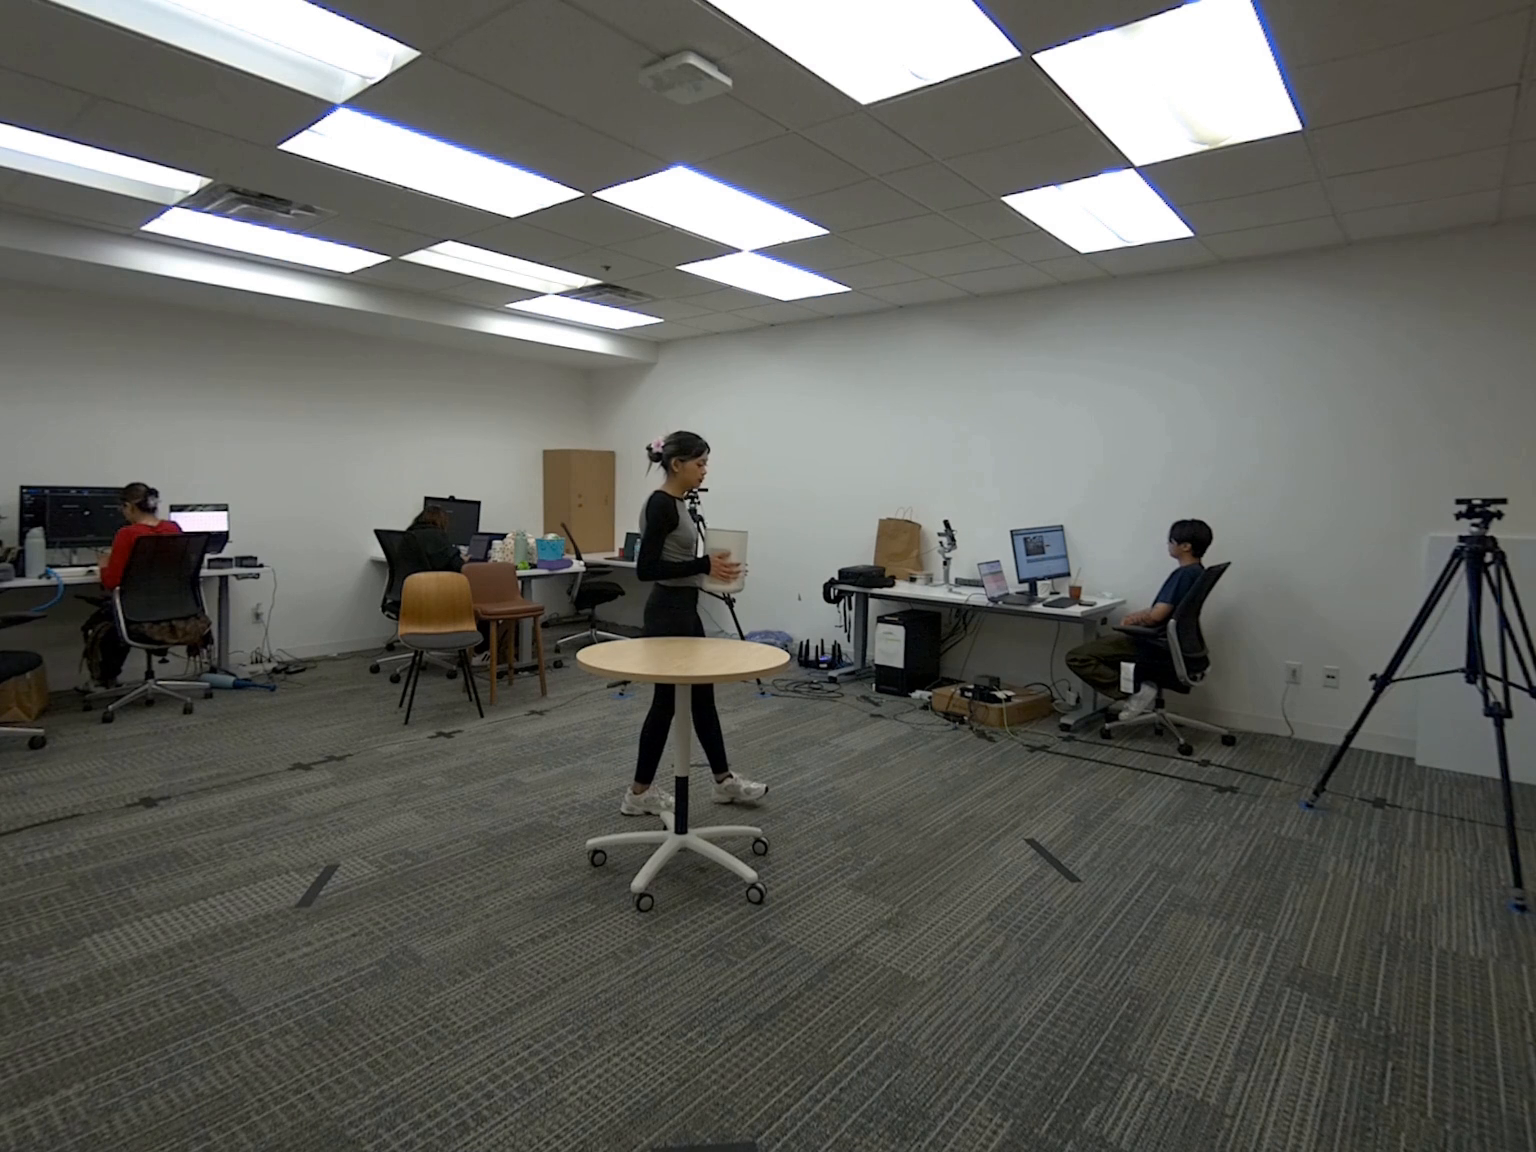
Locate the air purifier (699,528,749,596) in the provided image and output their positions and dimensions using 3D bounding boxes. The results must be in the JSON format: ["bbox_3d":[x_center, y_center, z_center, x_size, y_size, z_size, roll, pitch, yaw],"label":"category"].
[{"bbox_3d":[-0.194,-0.065,3.586,0.174,0.265,0.169,4,3,13],"label":"air purifier"}]
